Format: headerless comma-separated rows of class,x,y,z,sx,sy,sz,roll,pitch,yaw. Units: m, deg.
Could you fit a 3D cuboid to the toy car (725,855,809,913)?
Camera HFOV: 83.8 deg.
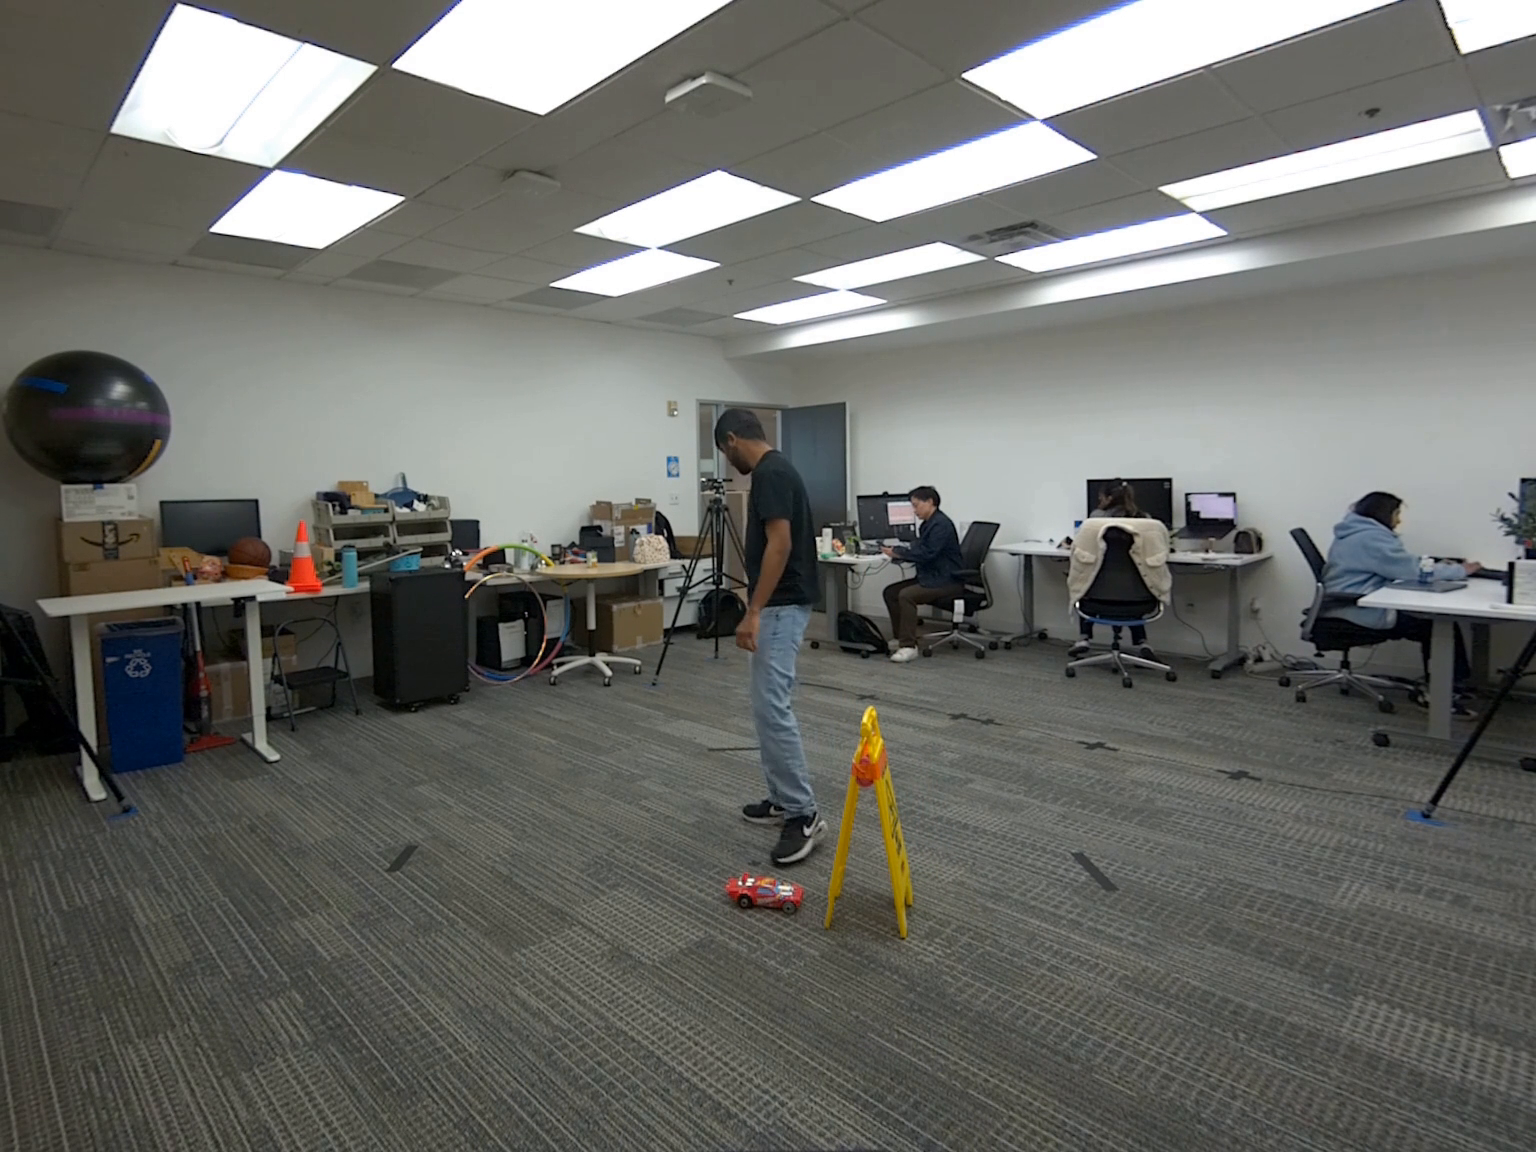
toy car,-0.011,1.047,2.812,0.258,0.083,0.129,12,7,13
